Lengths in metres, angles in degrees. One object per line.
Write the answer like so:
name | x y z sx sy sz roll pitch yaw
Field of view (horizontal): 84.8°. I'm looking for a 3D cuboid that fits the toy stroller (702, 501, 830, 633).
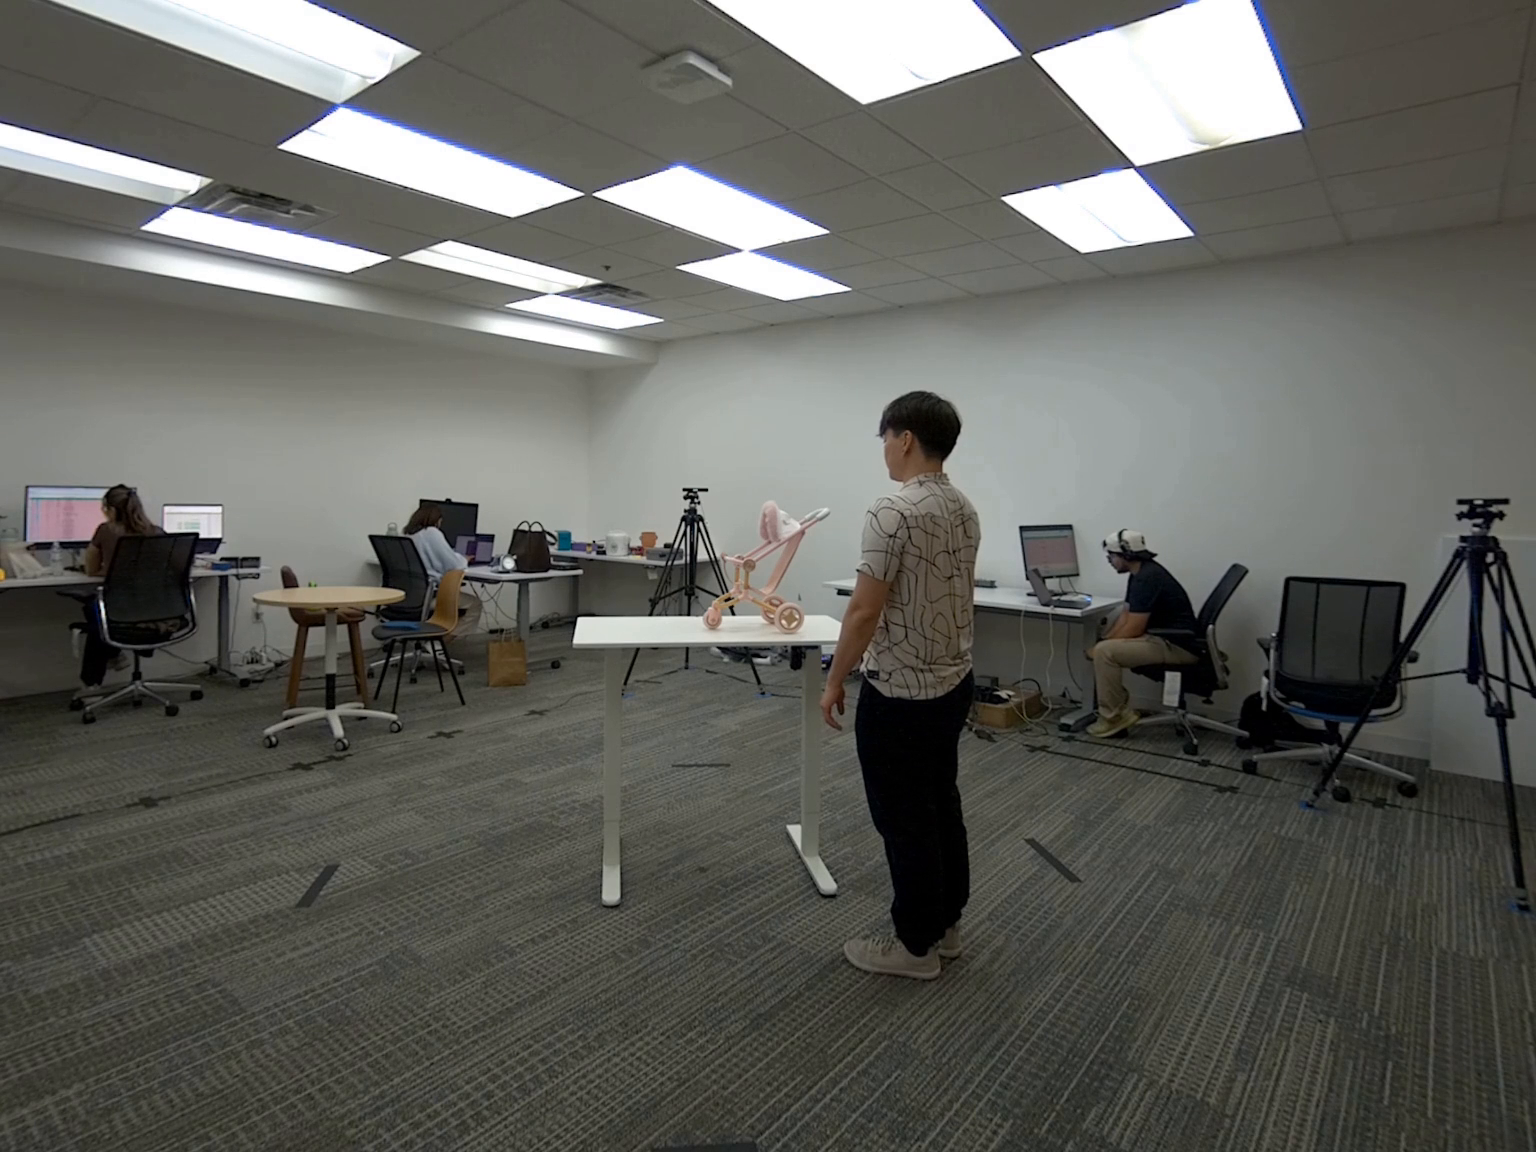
toy stroller | -0.026 -0.034 3.098 0.339 0.534 0.283 16 1 -5
